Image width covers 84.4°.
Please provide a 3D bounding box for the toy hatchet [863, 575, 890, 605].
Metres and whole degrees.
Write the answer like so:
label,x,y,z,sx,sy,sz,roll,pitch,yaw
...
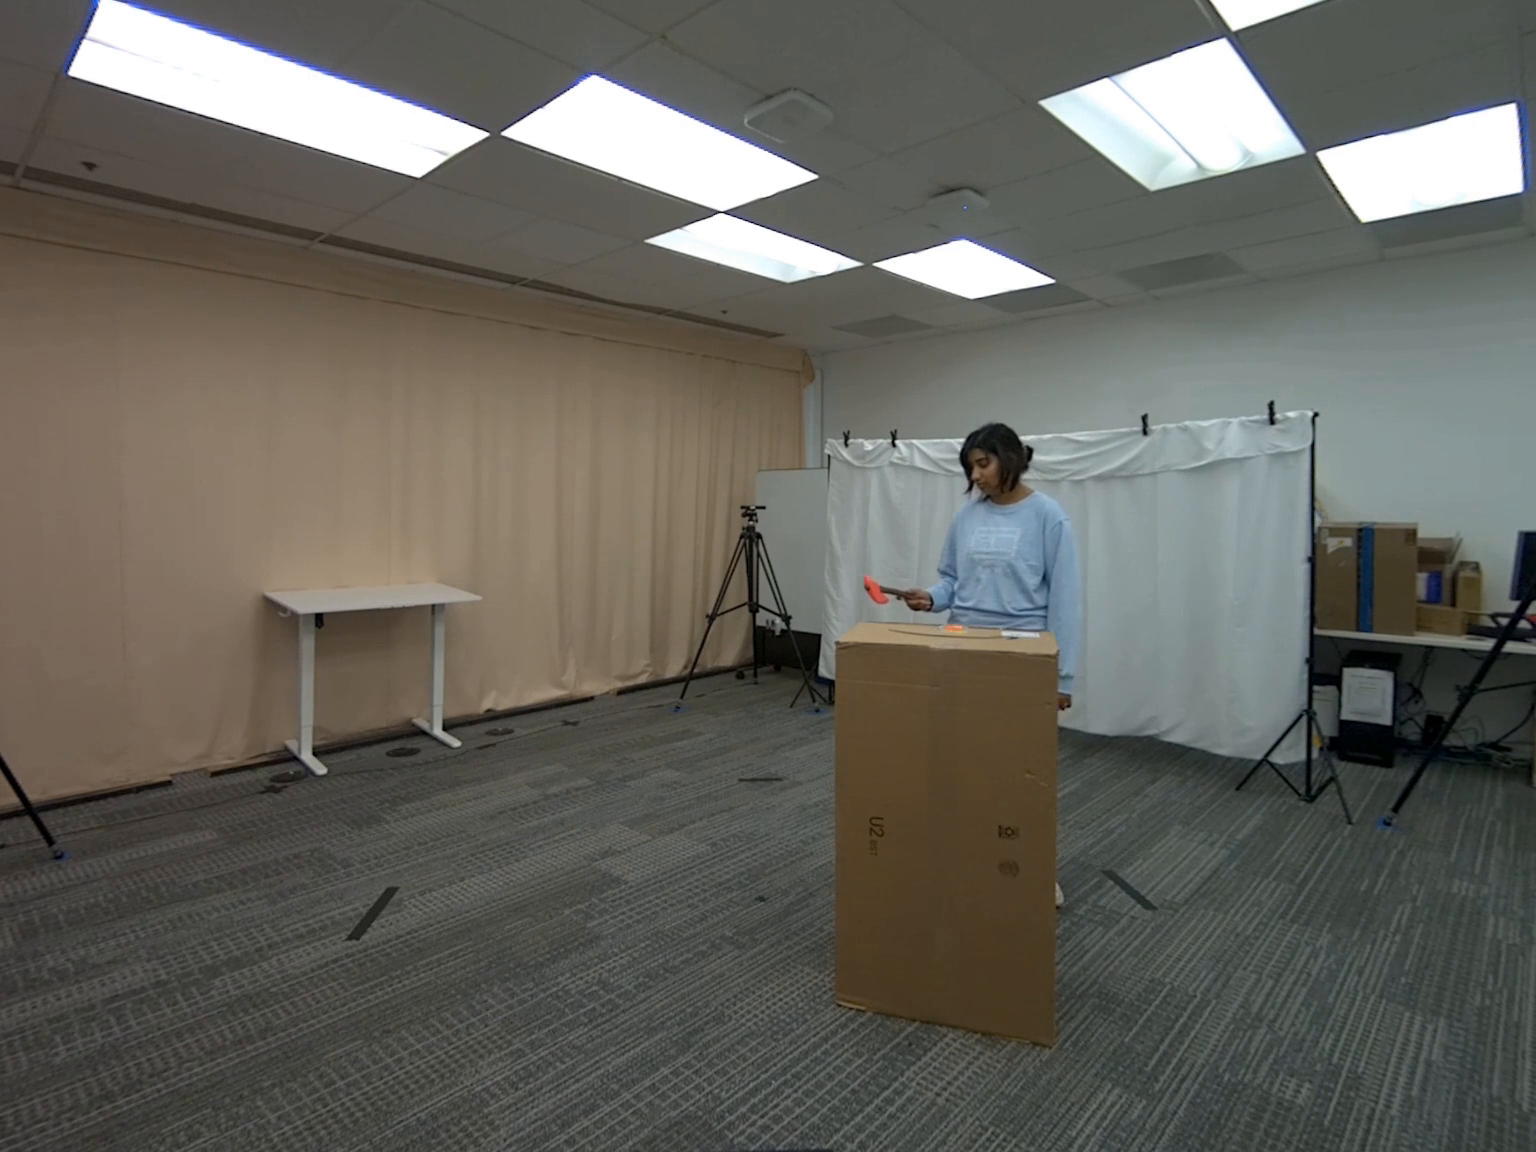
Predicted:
label,x,y,z,sx,sy,sz,roll,pitch,yaw
toy hatchet,0.465,0.086,2.971,0.265,0.030,0.133,22,39,-17
